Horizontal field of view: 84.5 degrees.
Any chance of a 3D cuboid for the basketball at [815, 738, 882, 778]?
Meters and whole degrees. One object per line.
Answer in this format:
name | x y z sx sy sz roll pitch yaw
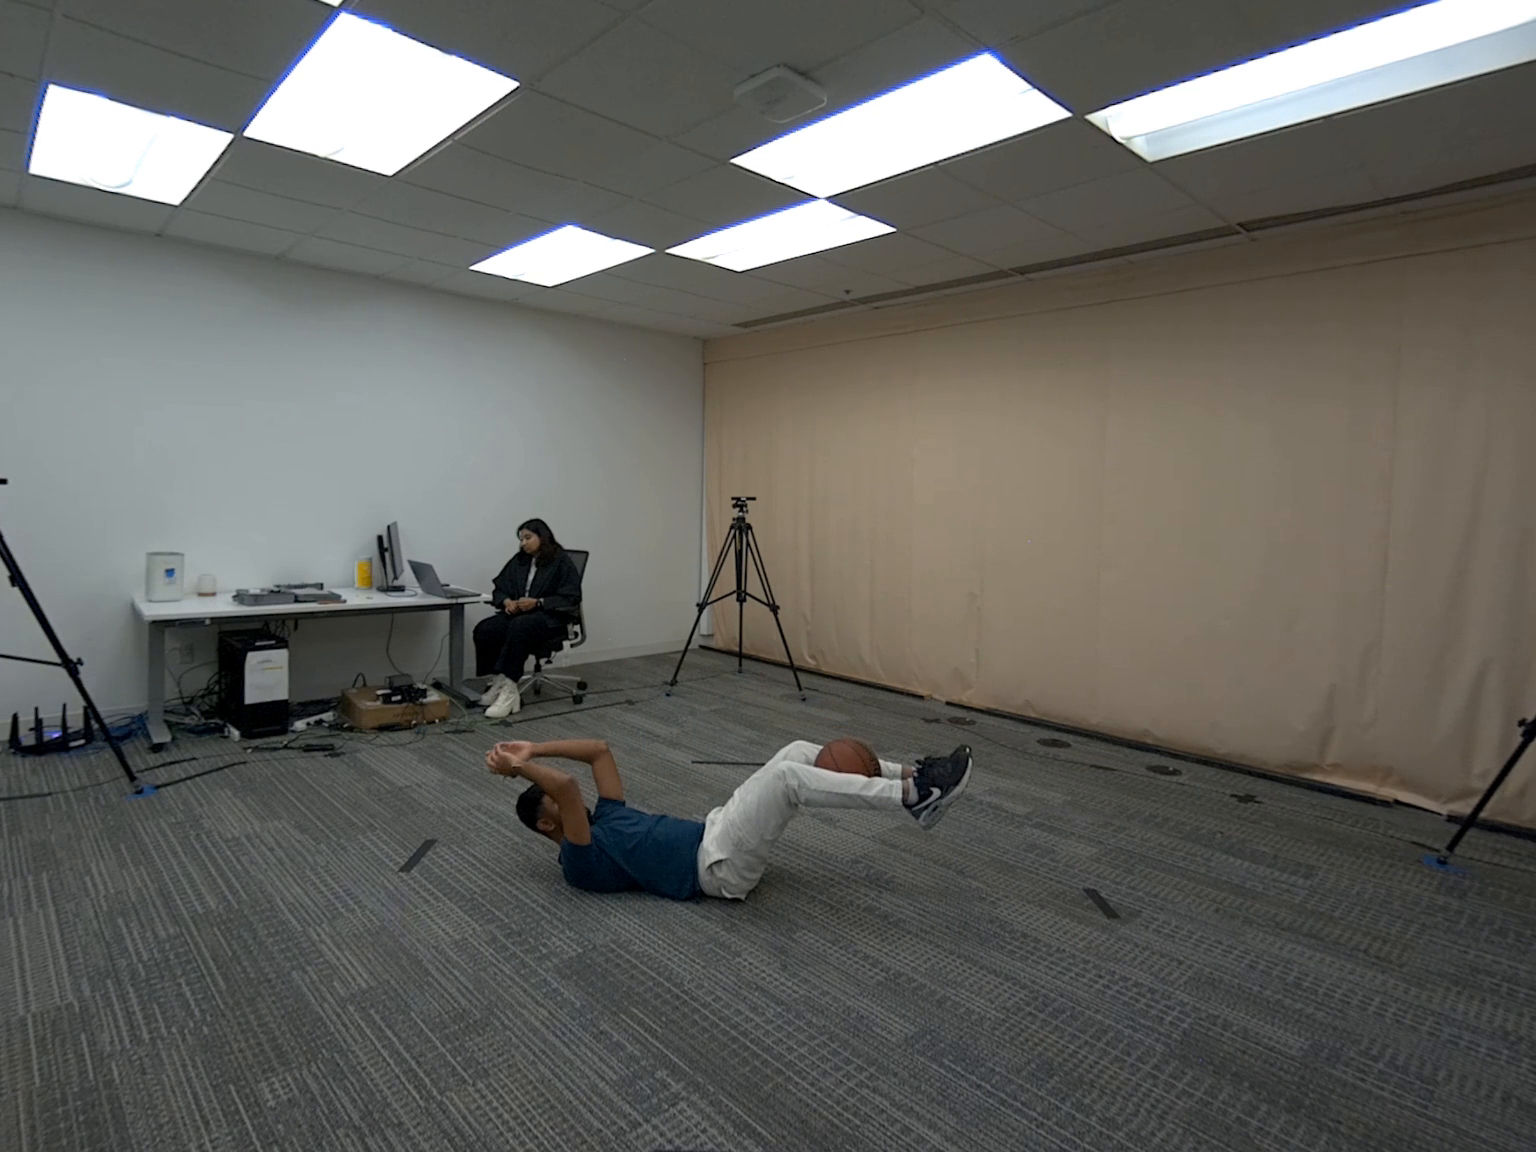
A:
basketball | 0.269 0.689 2.951 0.236 0.235 0.237 1 4 -1
